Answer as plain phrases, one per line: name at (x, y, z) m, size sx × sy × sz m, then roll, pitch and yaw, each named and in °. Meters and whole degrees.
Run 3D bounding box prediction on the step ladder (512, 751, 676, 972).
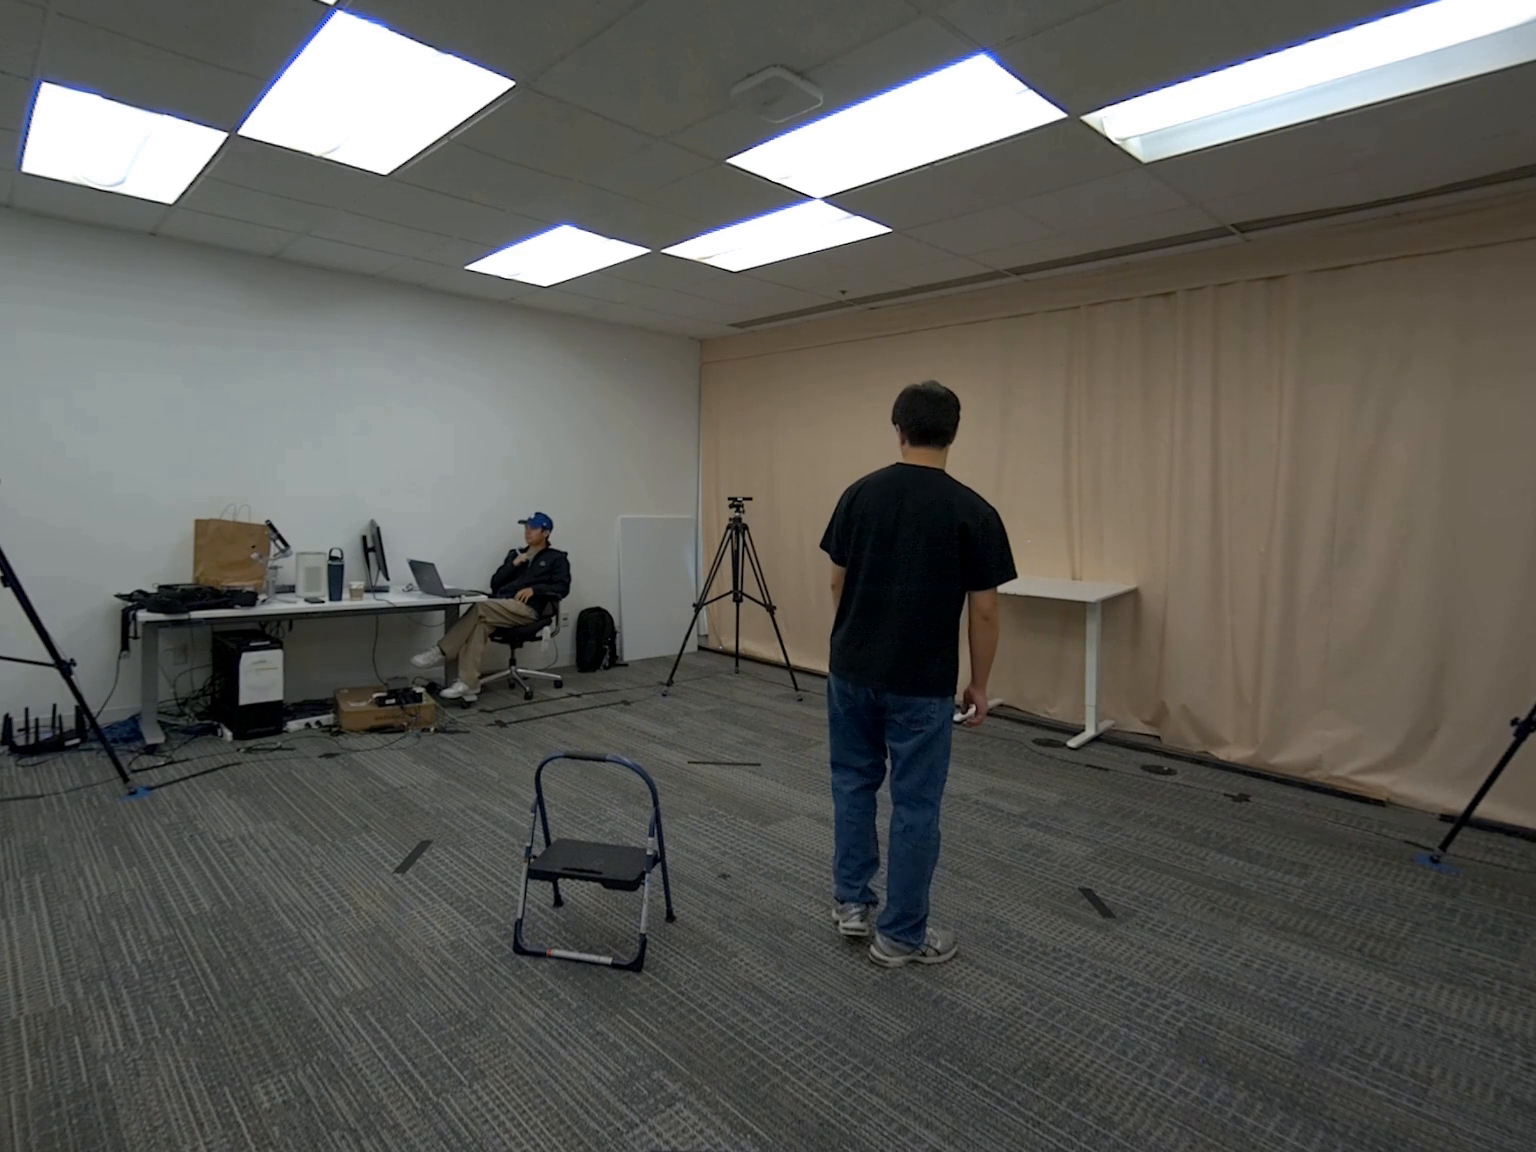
step ladder at (-0.539, 0.835, 2.656) m, size 0.434 × 0.605 × 0.347 m, roll 1°, pitch 3°, yaw 10°
